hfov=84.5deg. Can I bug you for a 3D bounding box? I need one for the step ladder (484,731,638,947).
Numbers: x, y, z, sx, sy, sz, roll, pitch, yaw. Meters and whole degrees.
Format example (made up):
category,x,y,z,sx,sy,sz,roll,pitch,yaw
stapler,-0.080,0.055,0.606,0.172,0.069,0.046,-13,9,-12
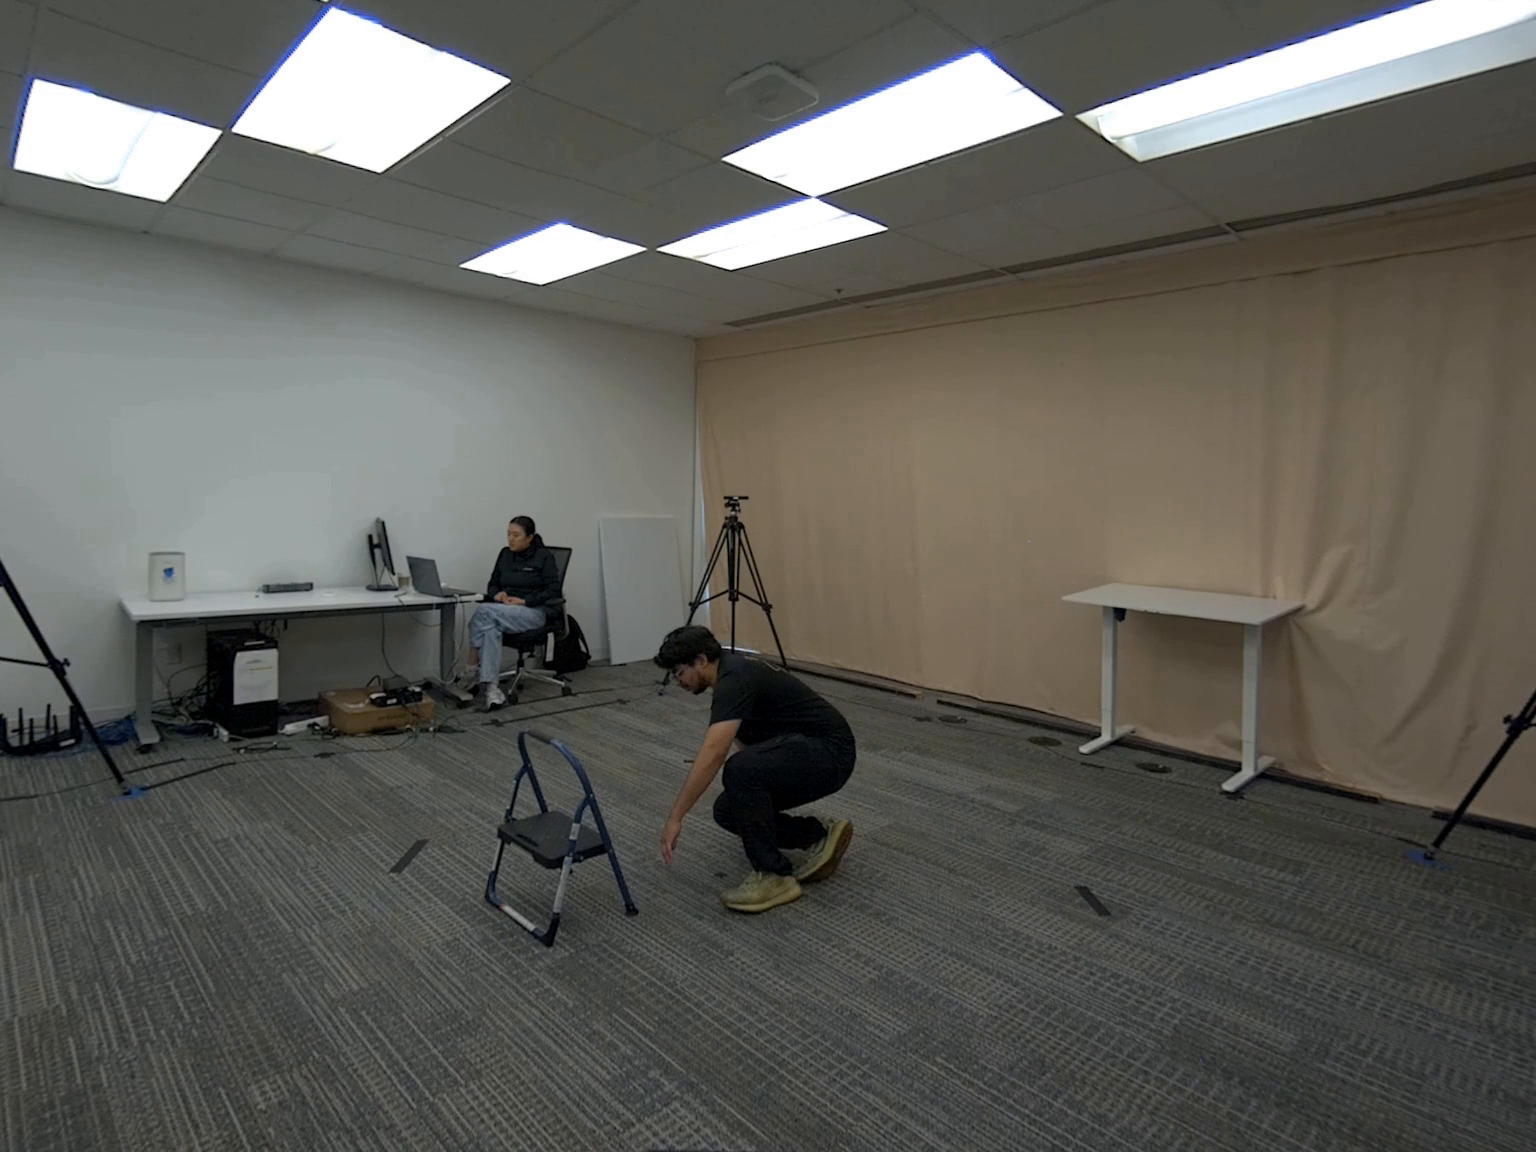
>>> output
category,x,y,z,sx,sy,sz,roll,pitch,yaw
step ladder,-0.701,0.816,2.822,0.441,0.605,0.341,4,5,44
